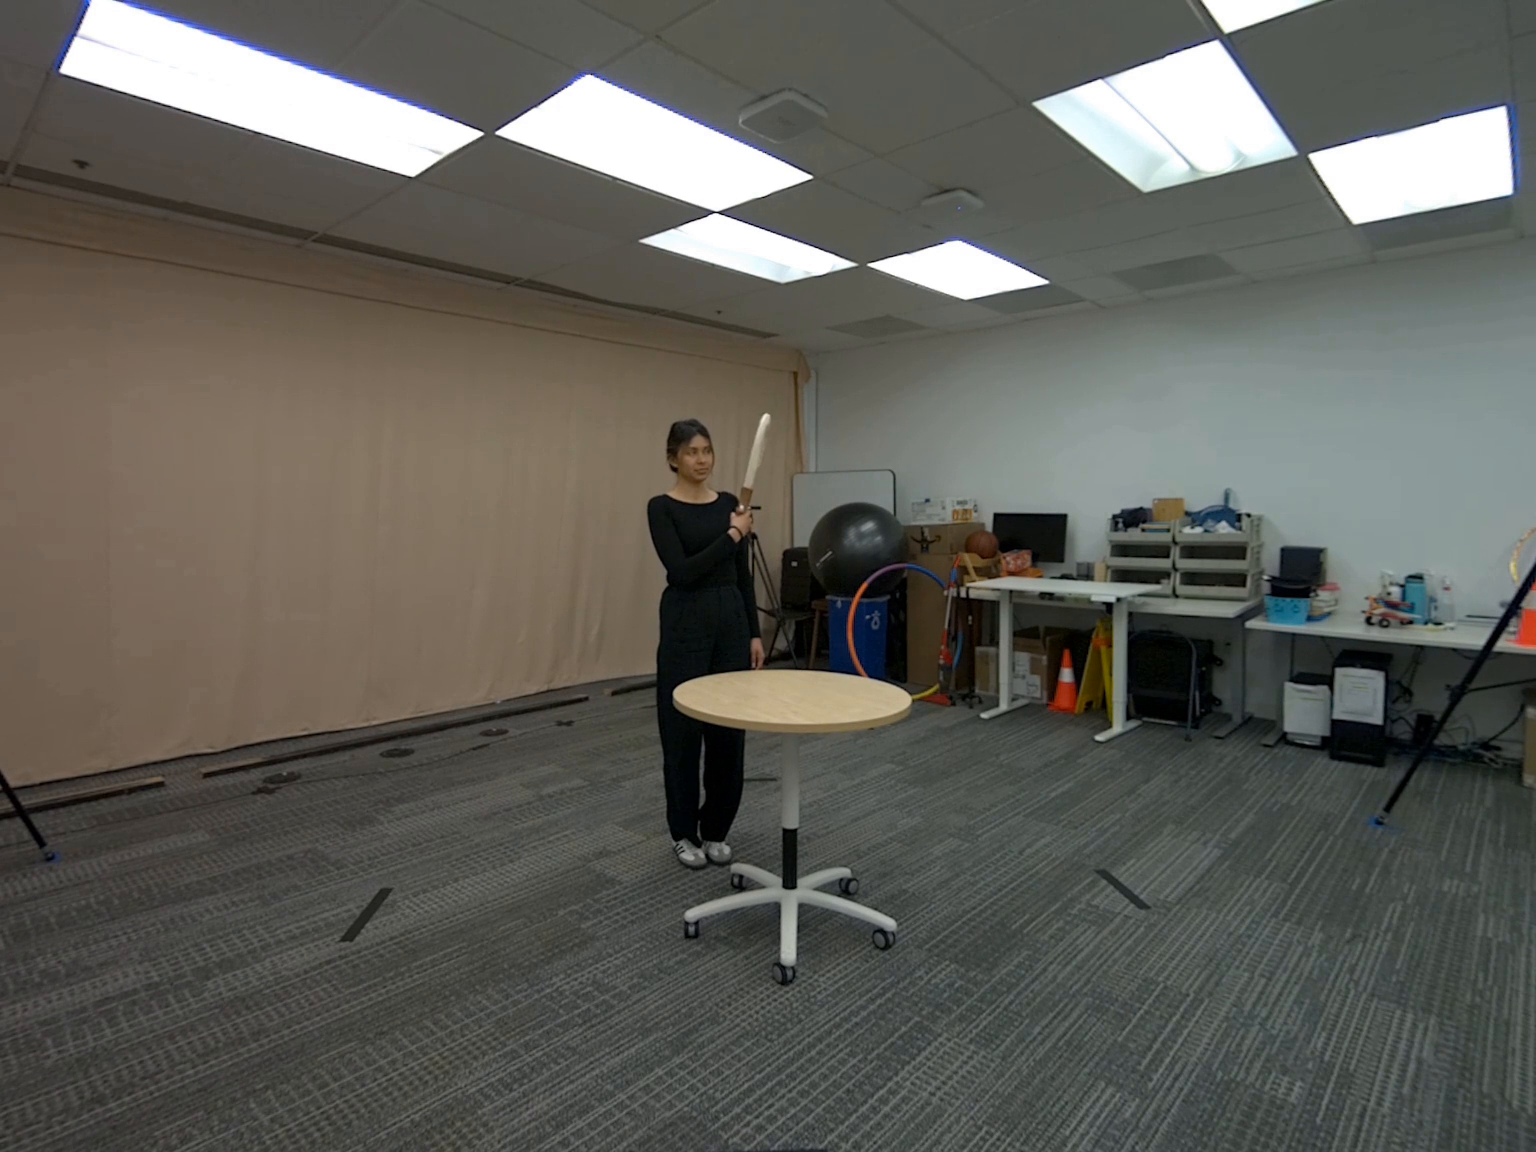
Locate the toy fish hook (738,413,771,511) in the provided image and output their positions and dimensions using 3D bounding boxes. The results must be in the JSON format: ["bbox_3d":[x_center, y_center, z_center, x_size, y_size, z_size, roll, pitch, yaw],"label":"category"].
[{"bbox_3d":[-0.056,-0.377,3.272,0.049,0.507,0.221,13,-6,8],"label":"toy fish hook"}]
